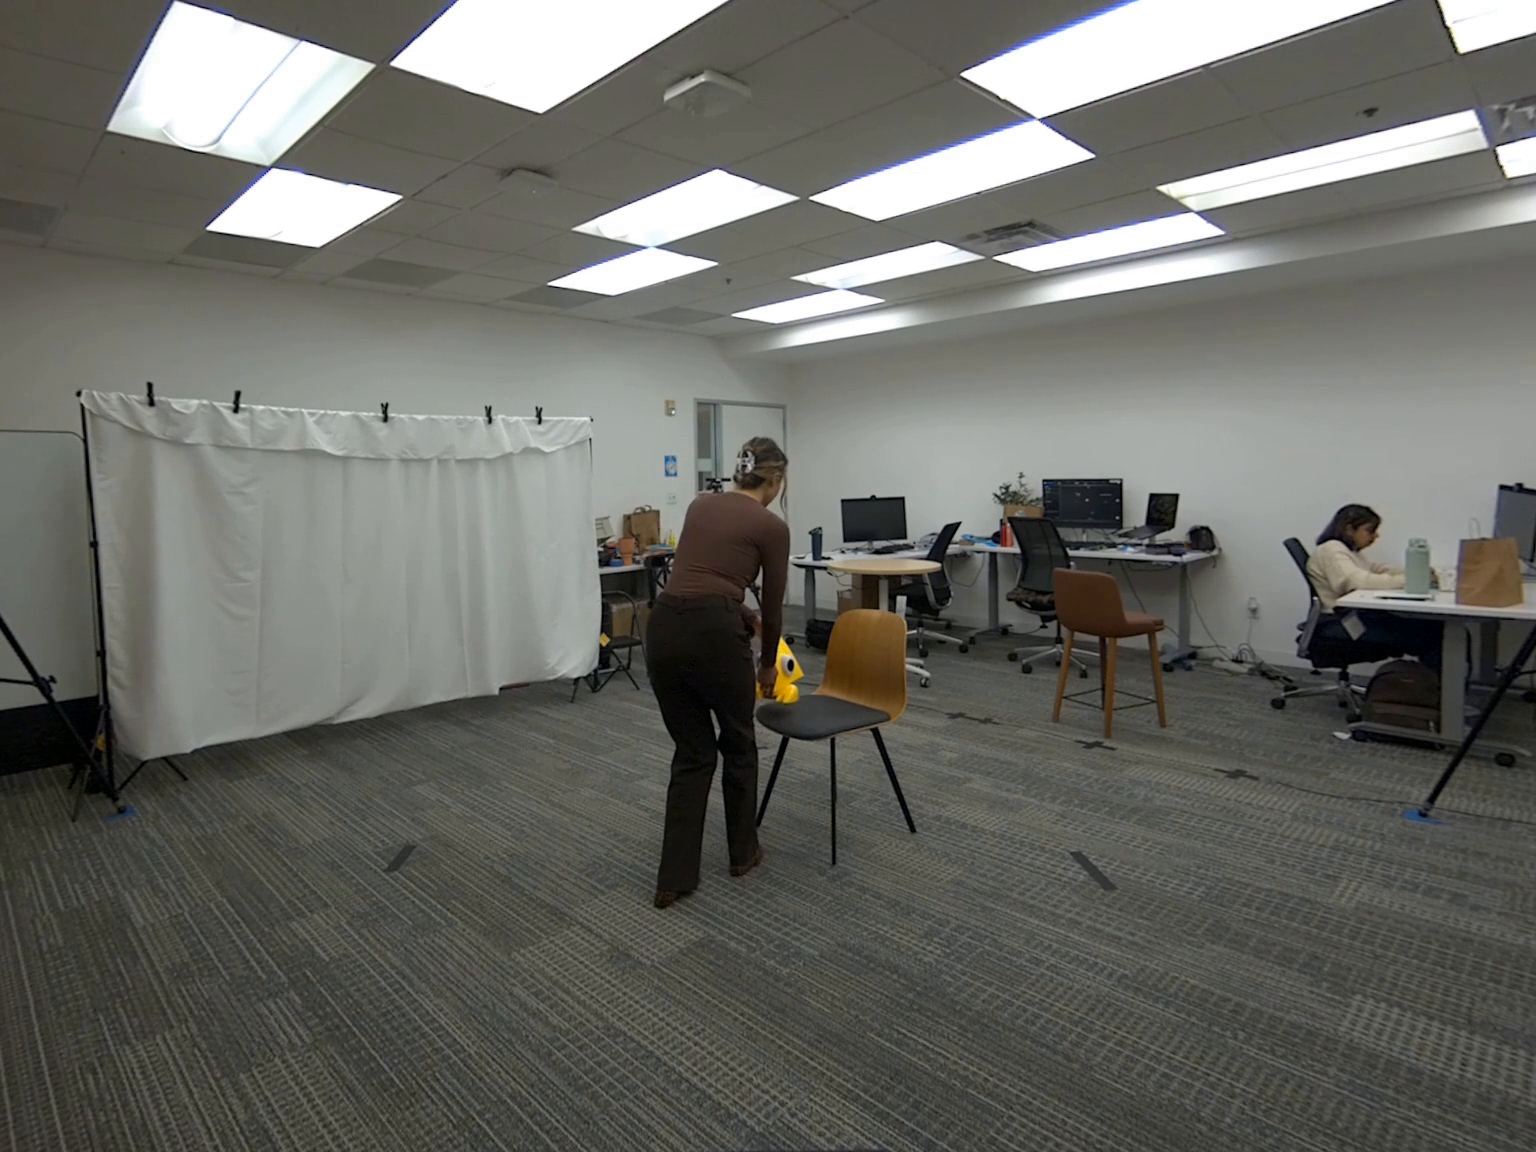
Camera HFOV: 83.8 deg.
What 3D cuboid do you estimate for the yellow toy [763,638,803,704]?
[{"bbox_3d":[0.027,0.355,3.325,0.208,0.230,0.190,4,2,13],"label":"yellow toy"}]
